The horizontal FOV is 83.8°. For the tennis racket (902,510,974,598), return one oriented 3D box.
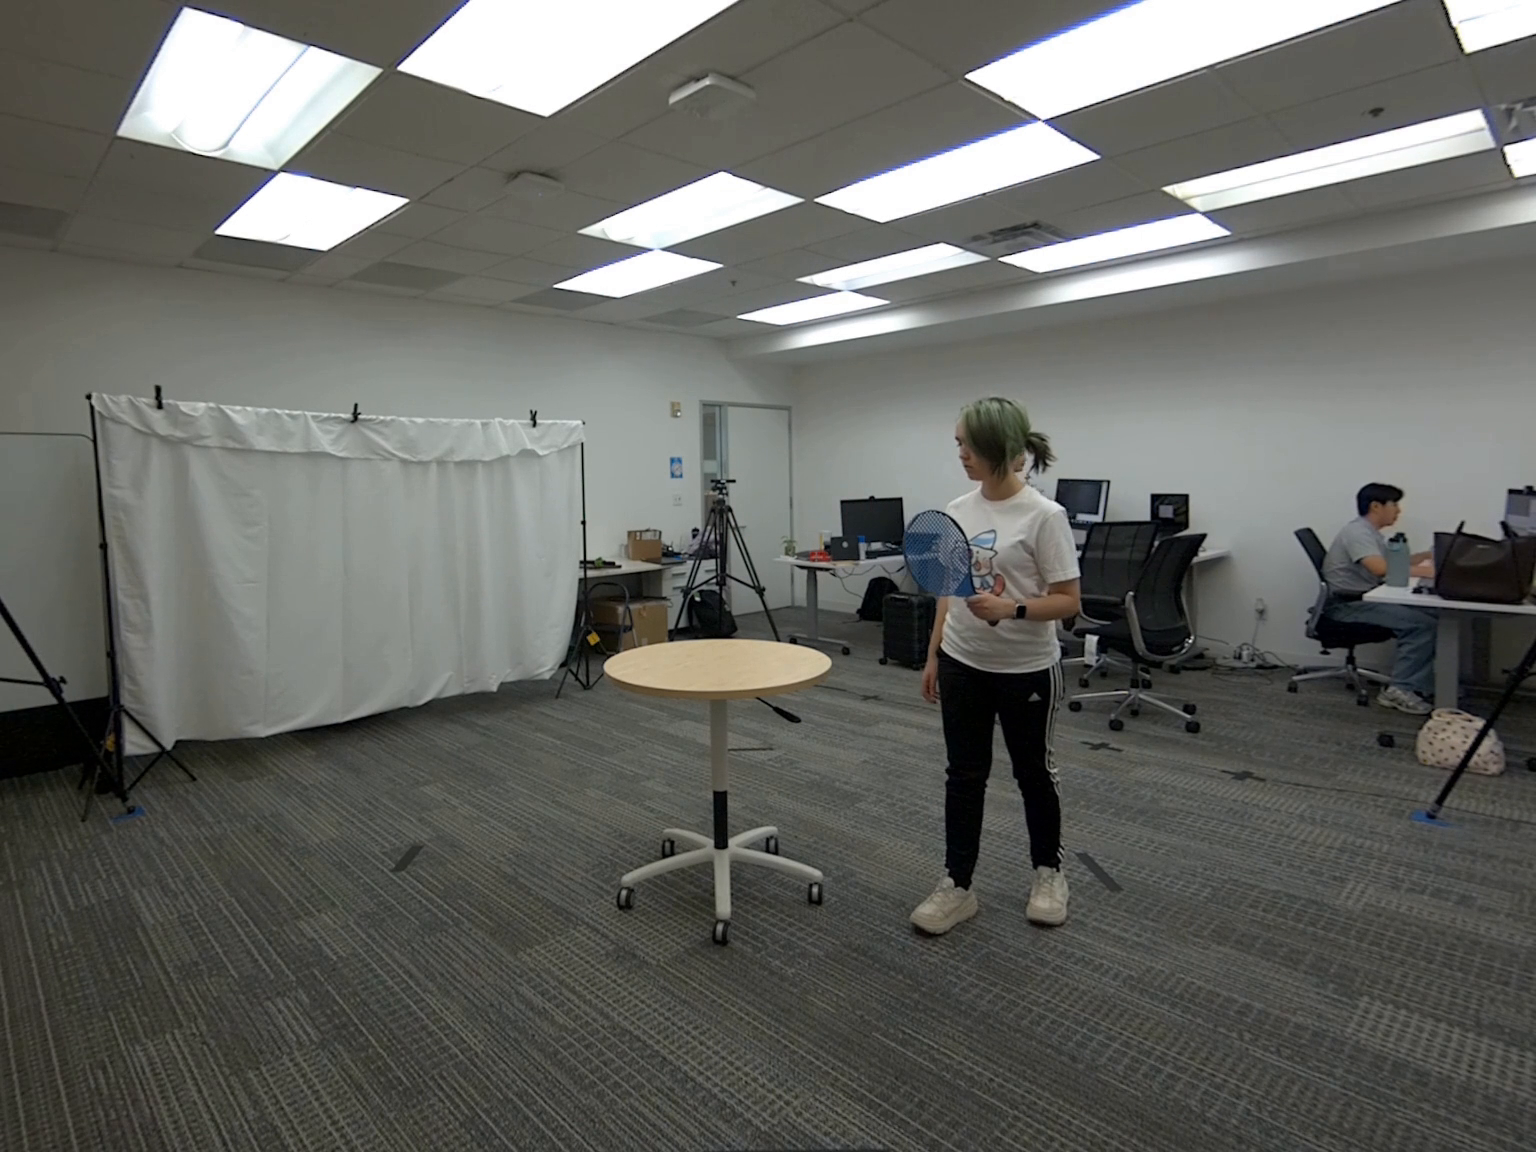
[{"bbox_3d":[0.524,-0.011,2.393,0.421,0.214,0.032,45,-15,-23],"label":"tennis racket"}]
